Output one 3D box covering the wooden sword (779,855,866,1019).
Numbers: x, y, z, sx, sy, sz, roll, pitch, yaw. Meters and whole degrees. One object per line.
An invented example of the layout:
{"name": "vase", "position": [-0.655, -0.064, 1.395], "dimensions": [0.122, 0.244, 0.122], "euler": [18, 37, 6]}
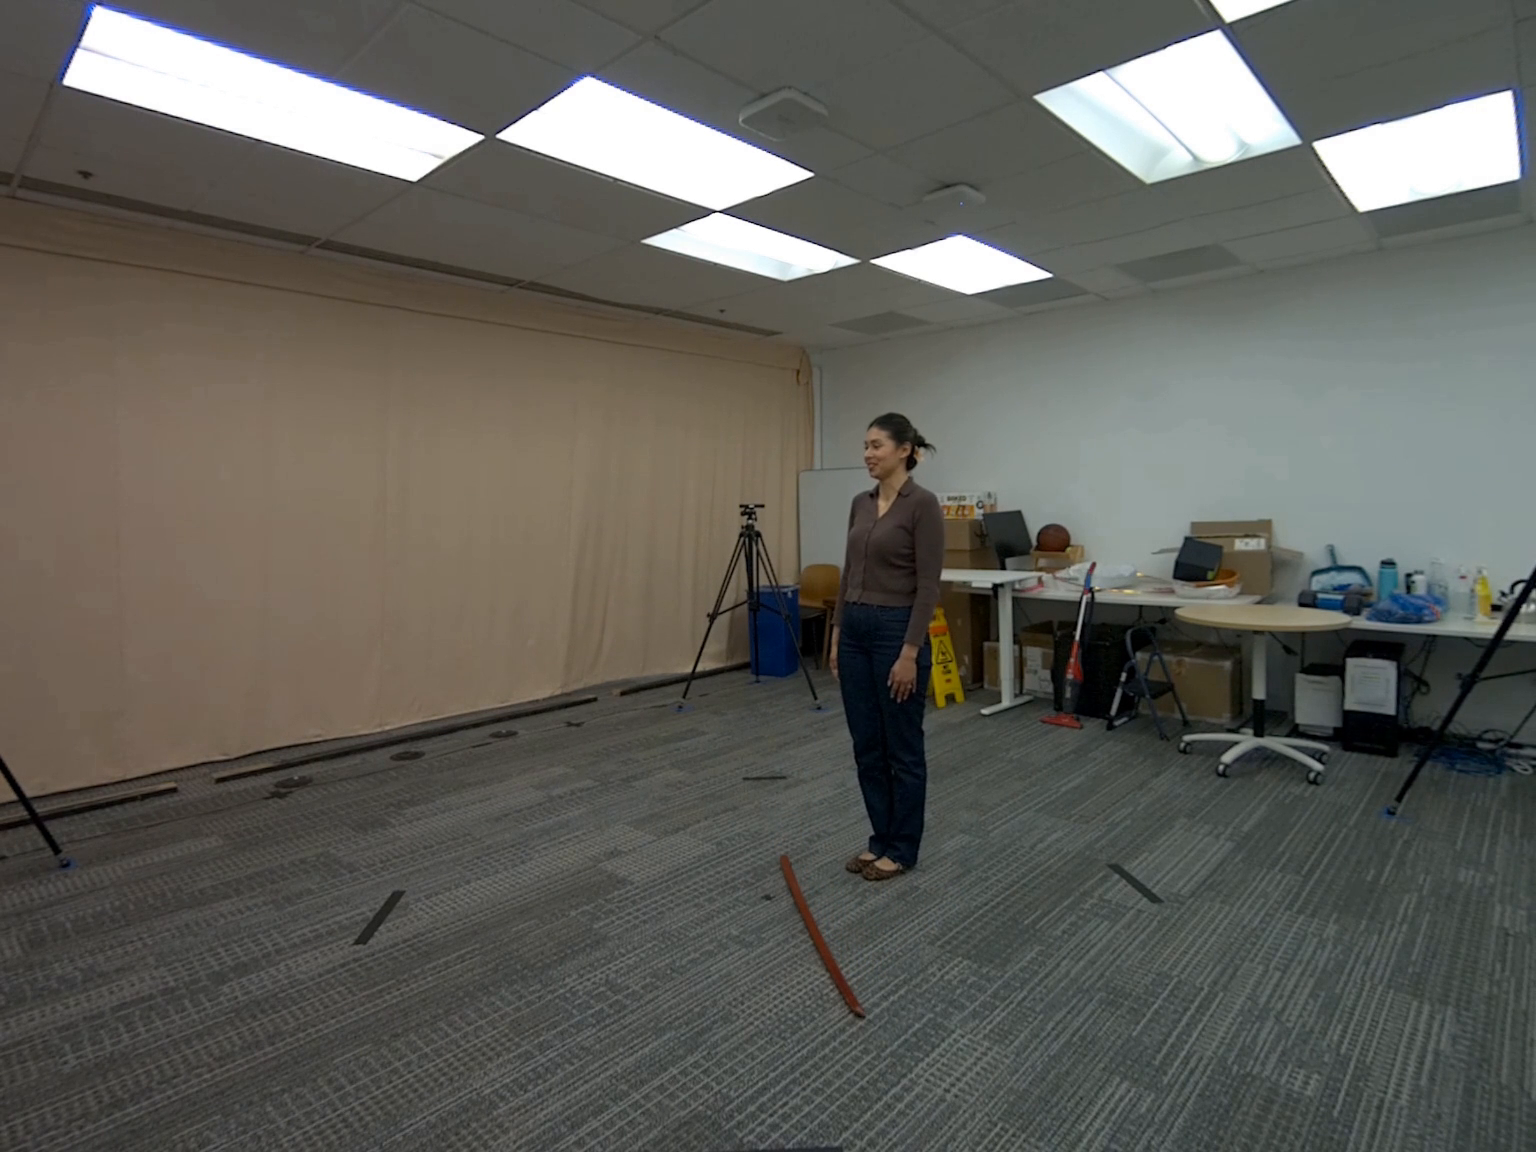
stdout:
{"name": "wooden sword", "position": [0.154, 1.134, 2.772], "dimensions": [0.051, 0.024, 1.037], "euler": [27, 0, -11]}
